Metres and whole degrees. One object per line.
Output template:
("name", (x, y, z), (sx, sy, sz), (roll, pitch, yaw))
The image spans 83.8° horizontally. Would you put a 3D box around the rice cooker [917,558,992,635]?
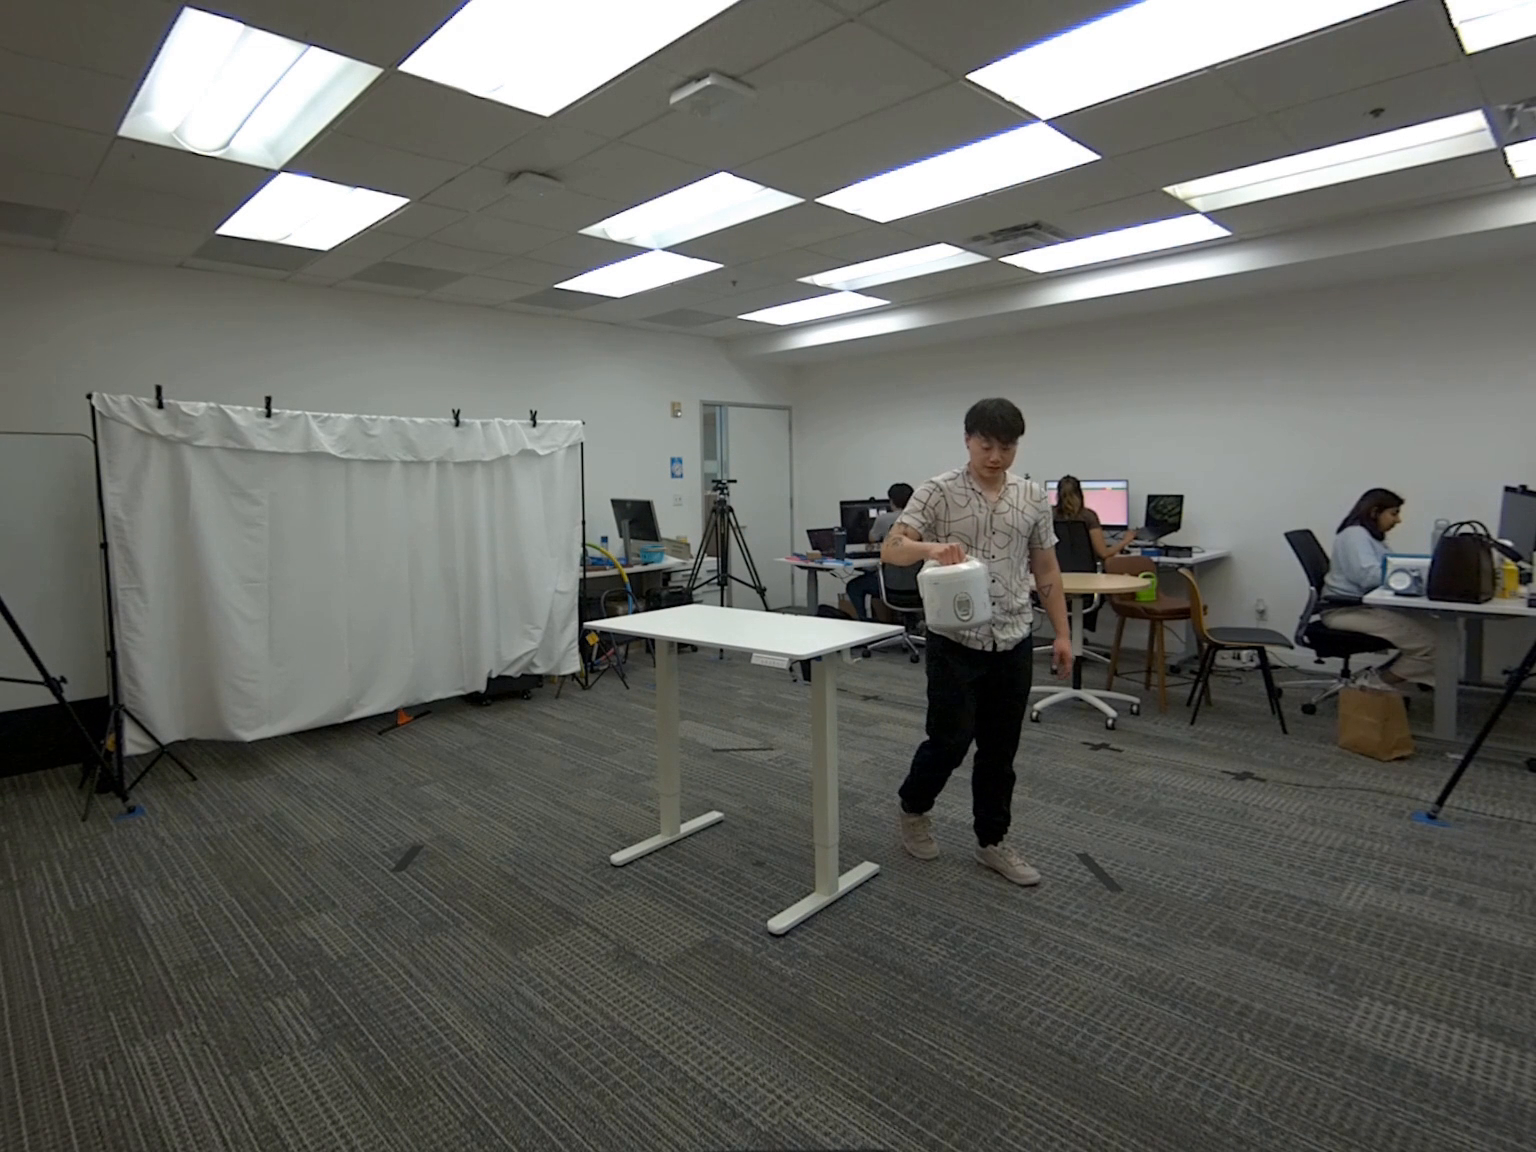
("rice cooker", (0.598, 0.046, 2.708), (0.221, 0.232, 0.217), (-11, 2, 3))
